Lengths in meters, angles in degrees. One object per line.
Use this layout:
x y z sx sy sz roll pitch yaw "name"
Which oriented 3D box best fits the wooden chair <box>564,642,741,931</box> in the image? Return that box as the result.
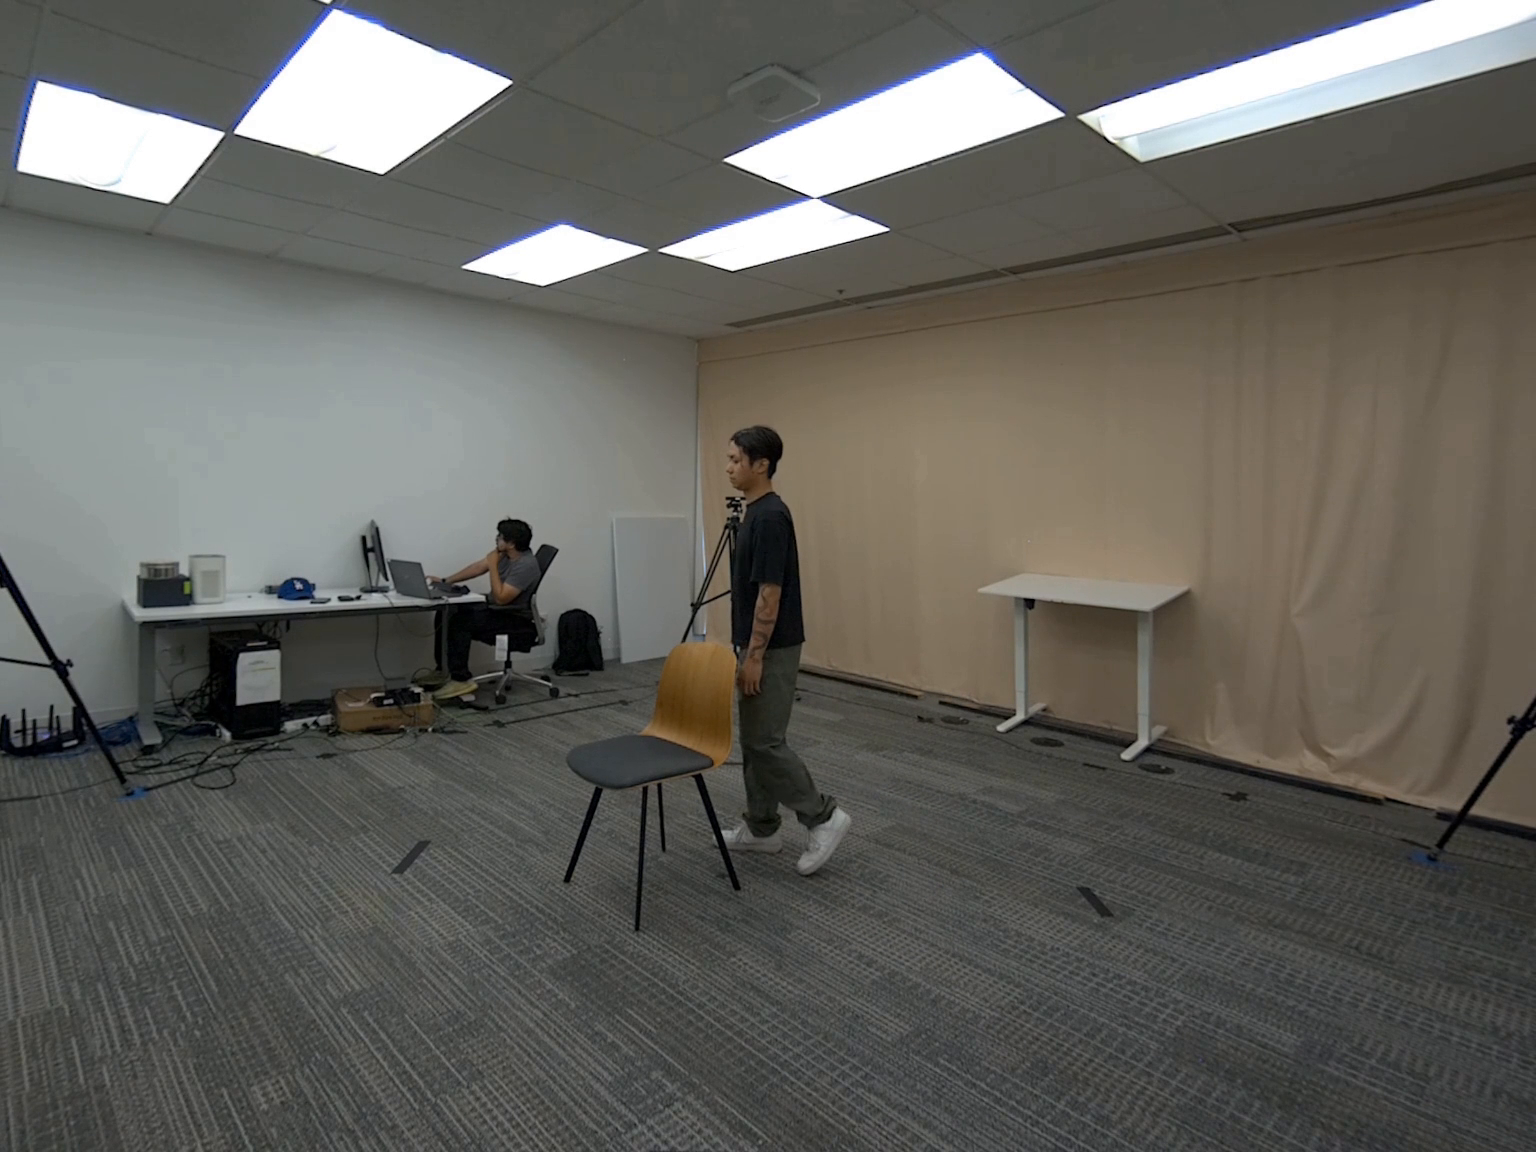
-0.417 0.688 2.961 0.510 0.877 0.490 4 1 -44 "wooden chair"
